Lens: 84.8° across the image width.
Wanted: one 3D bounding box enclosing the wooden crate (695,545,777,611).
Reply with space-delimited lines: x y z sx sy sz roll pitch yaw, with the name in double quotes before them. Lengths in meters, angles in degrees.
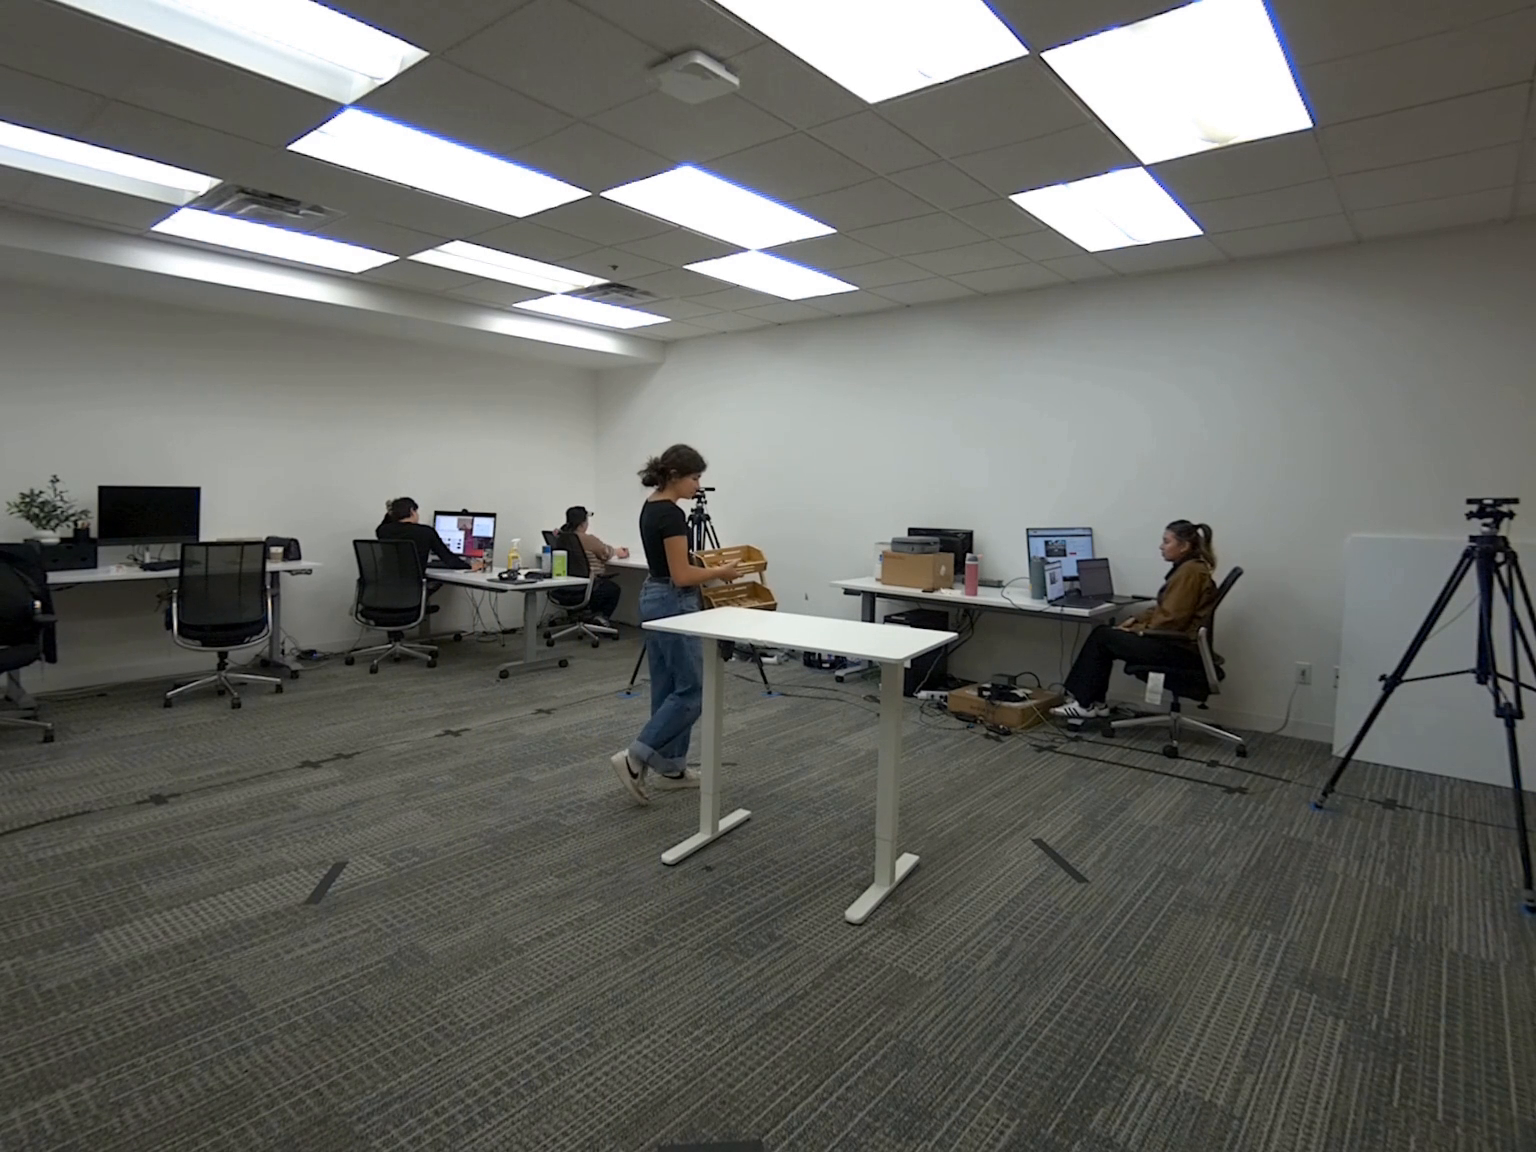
"wooden crate" -0.170 0.018 3.919 0.318 0.270 0.312 -8 13 -23
